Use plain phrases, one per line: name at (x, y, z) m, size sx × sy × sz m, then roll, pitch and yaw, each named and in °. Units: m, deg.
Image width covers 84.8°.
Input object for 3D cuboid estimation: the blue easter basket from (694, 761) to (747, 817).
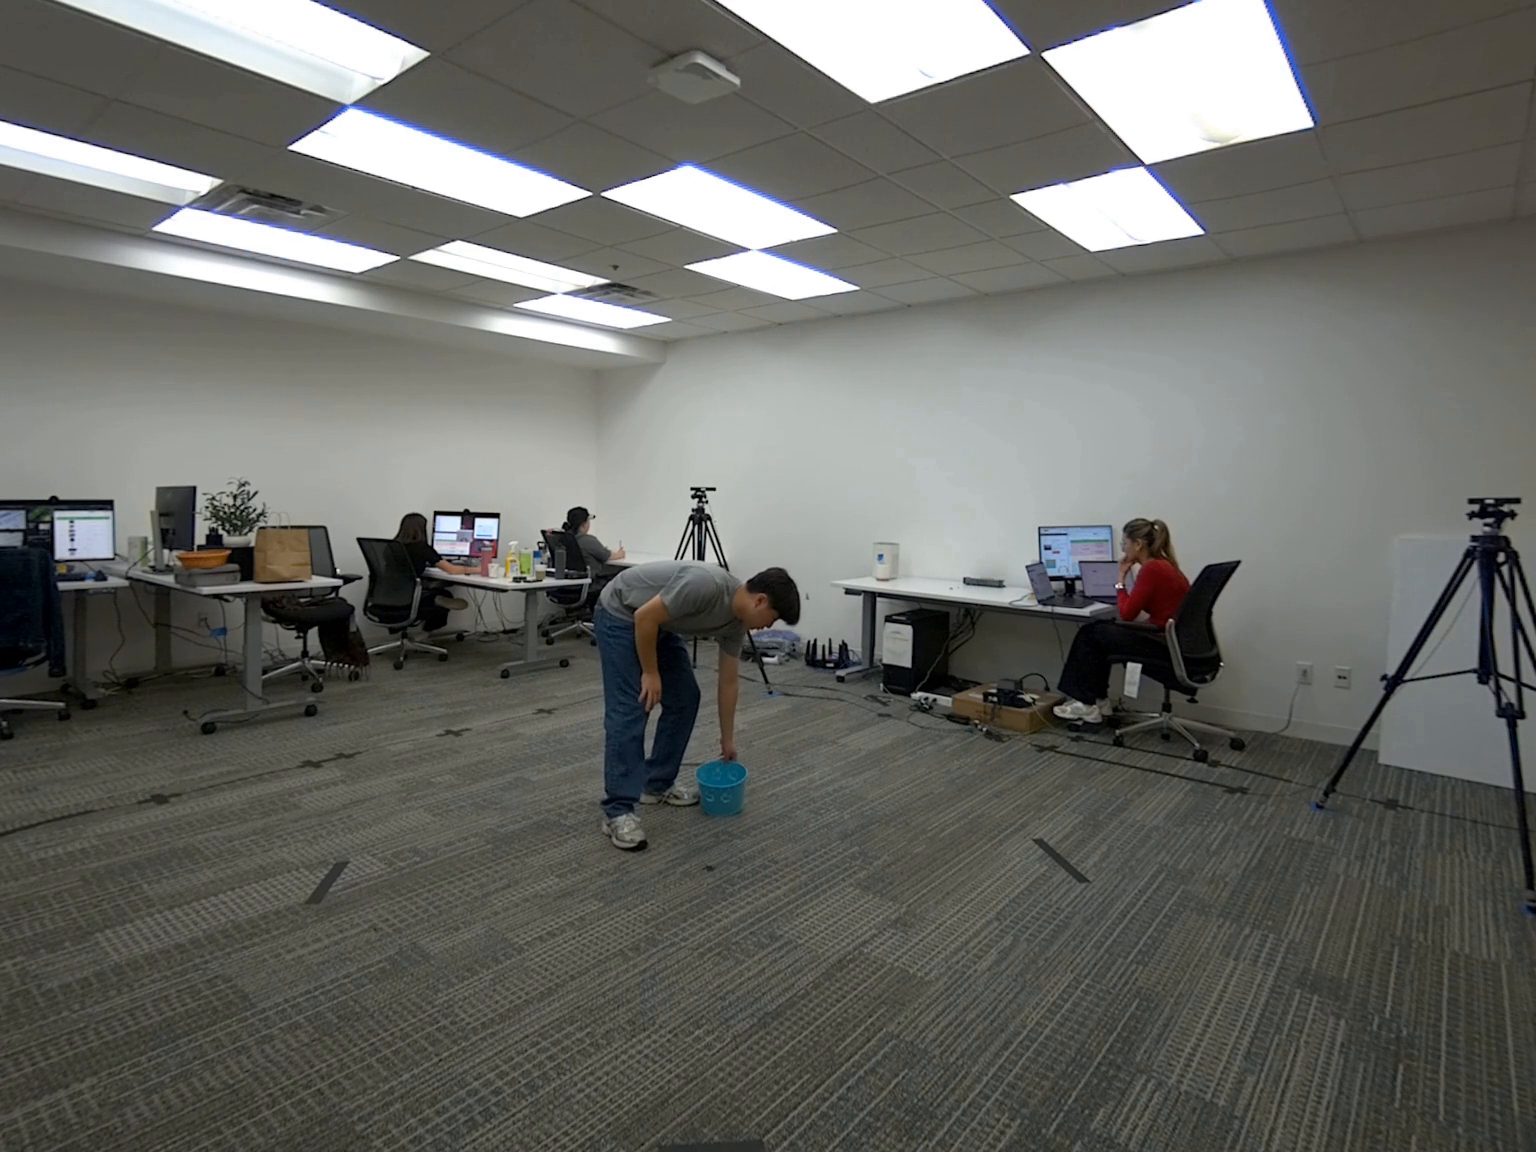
blue easter basket at (-0.205, 0.921, 3.674) m, size 0.243 × 0.154 × 0.247 m, roll -2°, pitch 14°, yaw -1°
